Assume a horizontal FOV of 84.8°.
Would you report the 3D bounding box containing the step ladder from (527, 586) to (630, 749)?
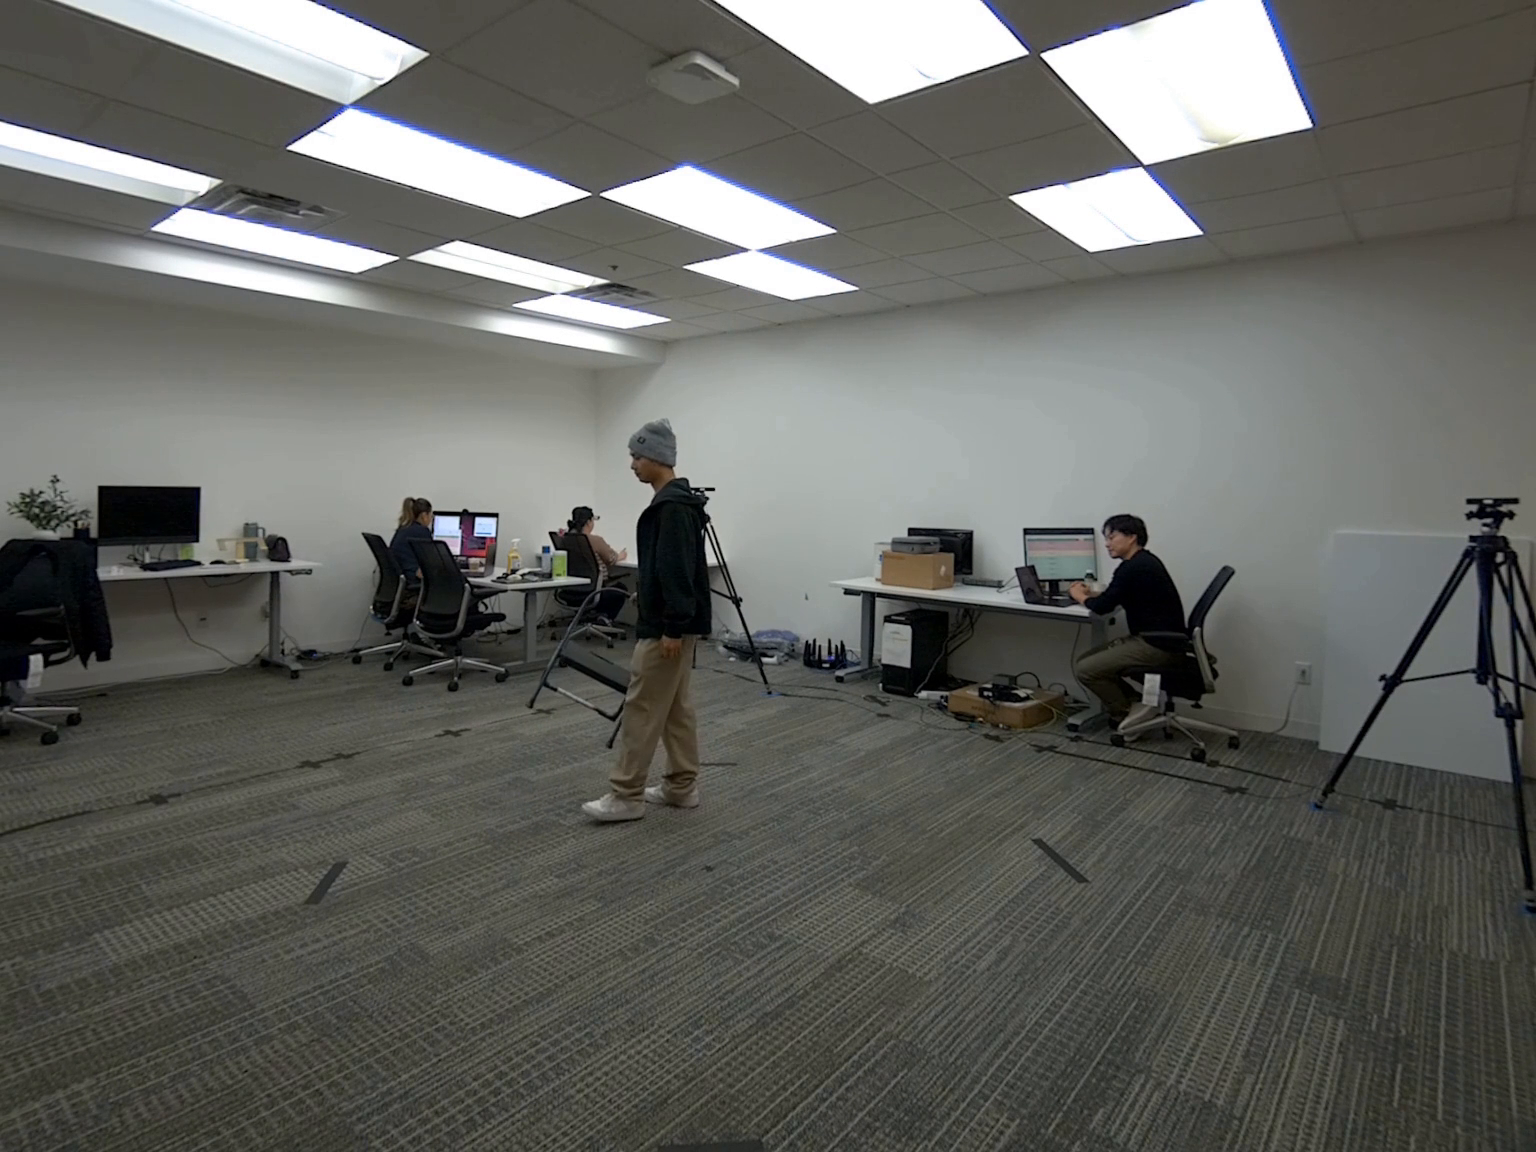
[{"bbox_3d":[-0.776,0.375,3.905,0.427,0.605,0.353,28,6,-8],"label":"step ladder"}]
